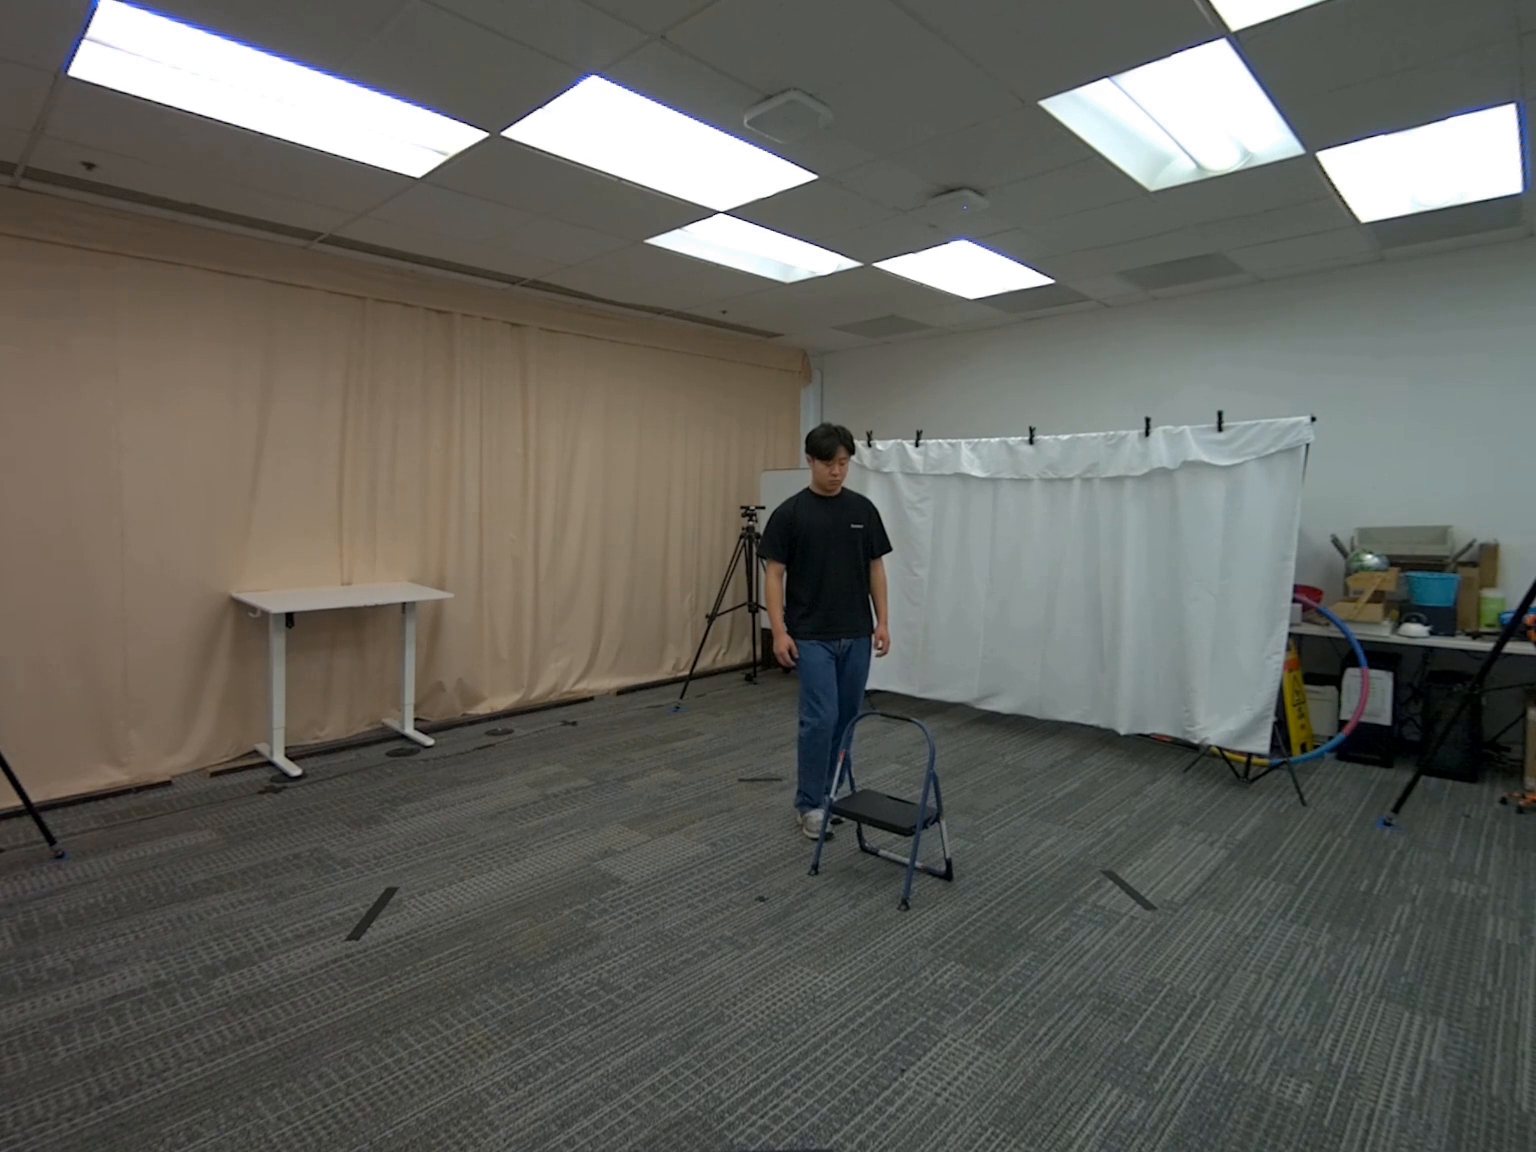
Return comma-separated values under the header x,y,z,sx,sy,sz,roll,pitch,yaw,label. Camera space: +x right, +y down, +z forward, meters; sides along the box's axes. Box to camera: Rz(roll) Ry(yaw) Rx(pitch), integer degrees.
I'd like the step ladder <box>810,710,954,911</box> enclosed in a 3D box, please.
x,y,z,sx,sy,sz,roll,pitch,yaw,label
0.428,0.818,3.144,0.445,0.605,0.338,3,4,43,step ladder
